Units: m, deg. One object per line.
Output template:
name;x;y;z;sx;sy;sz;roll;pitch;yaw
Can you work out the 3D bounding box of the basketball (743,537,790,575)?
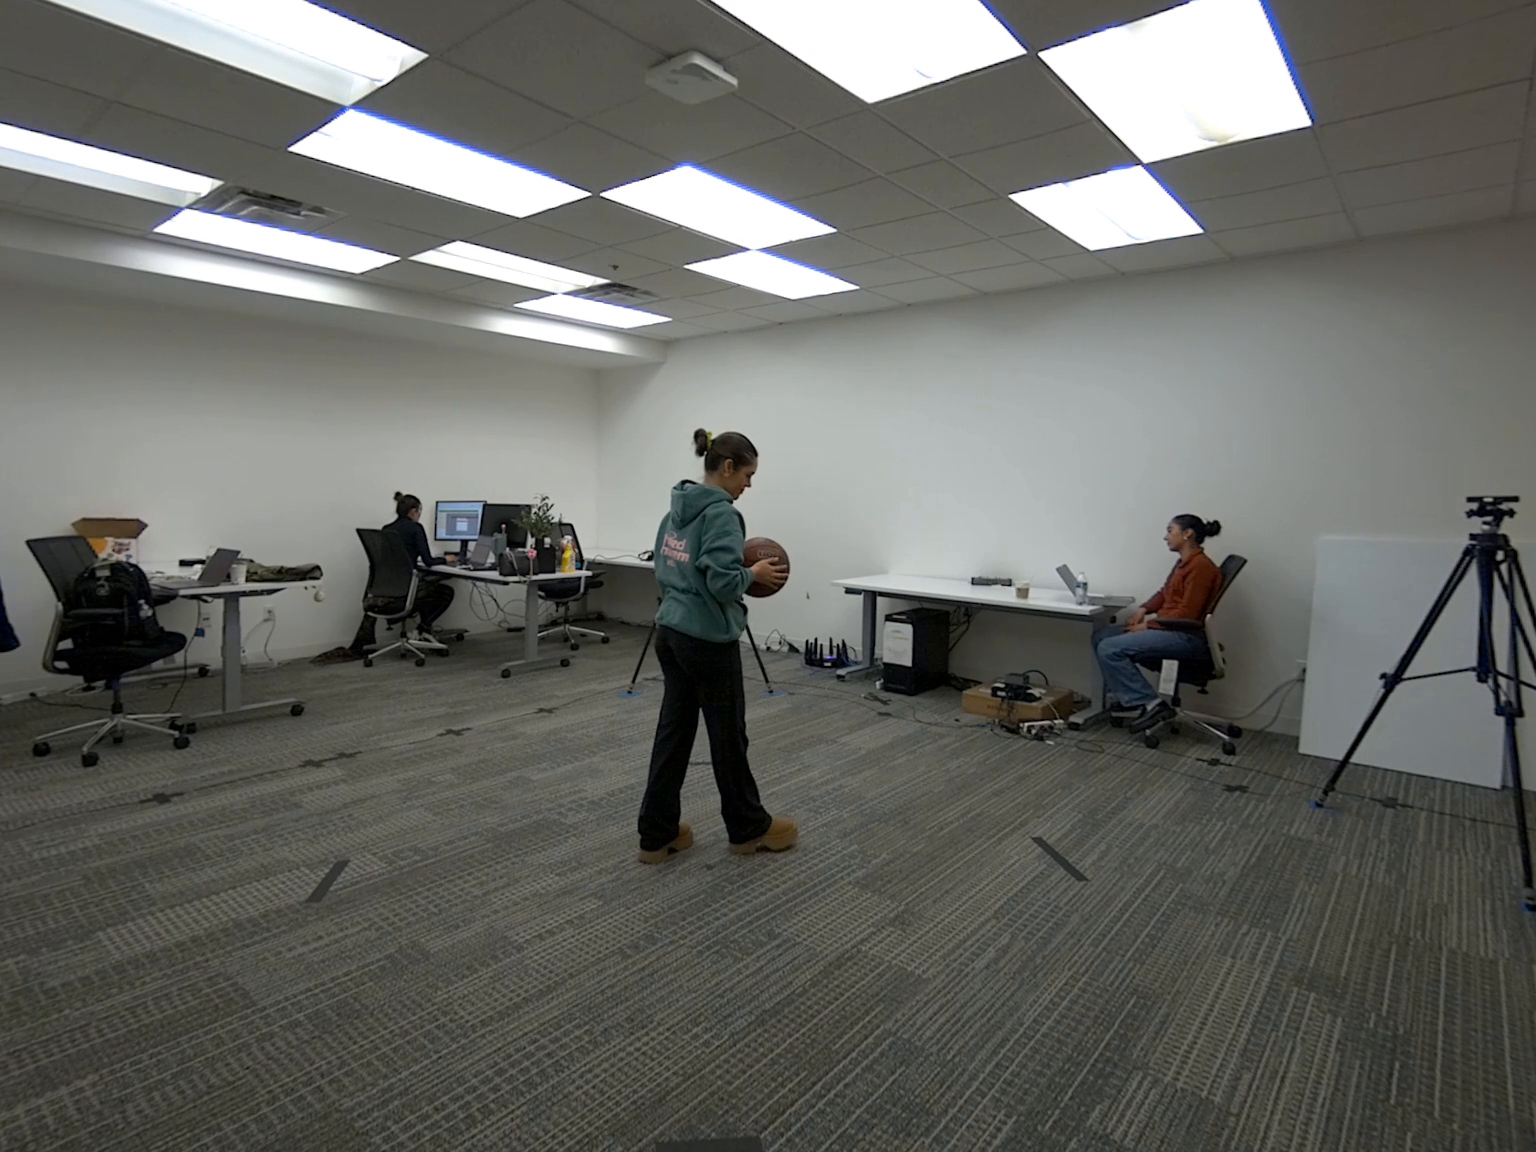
basketball;-0.037;-0.038;3.315;0.235;0.235;0.237;1;4;-2
